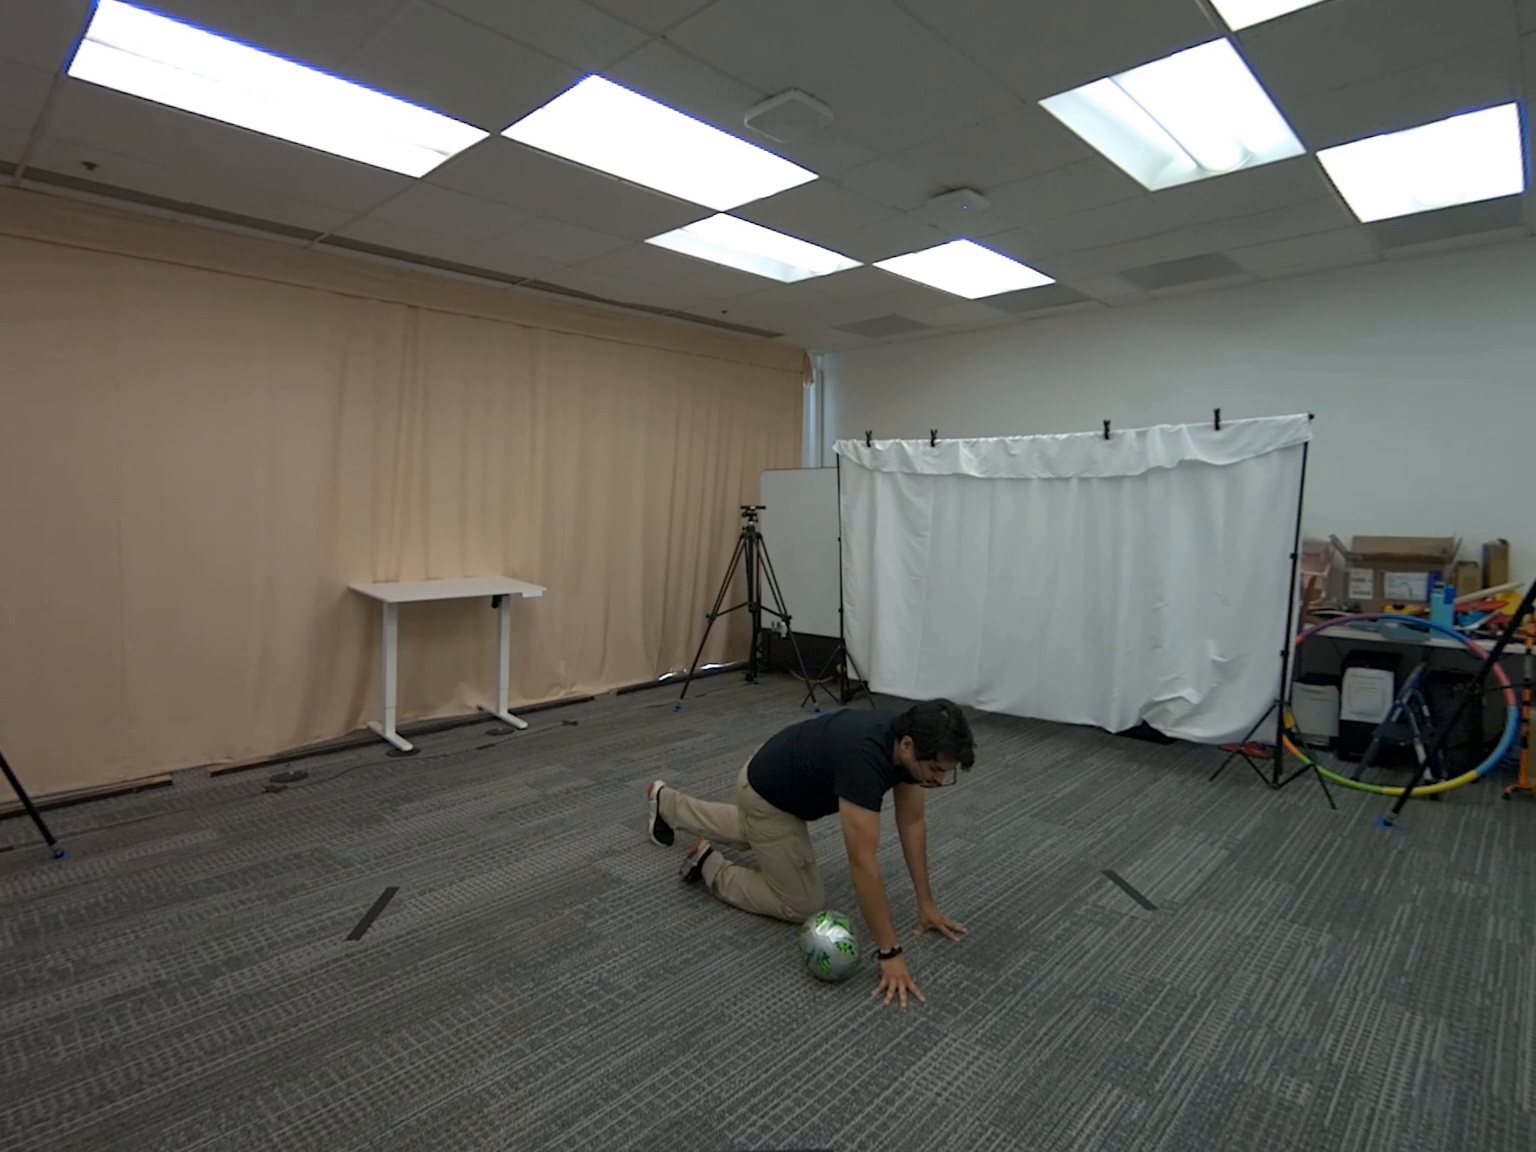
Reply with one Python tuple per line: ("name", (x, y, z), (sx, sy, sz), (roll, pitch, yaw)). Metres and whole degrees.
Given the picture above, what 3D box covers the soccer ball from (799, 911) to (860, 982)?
("soccer ball", (0.187, 1.091, 2.493), (0.187, 0.187, 0.188), (0, 4, -2))
